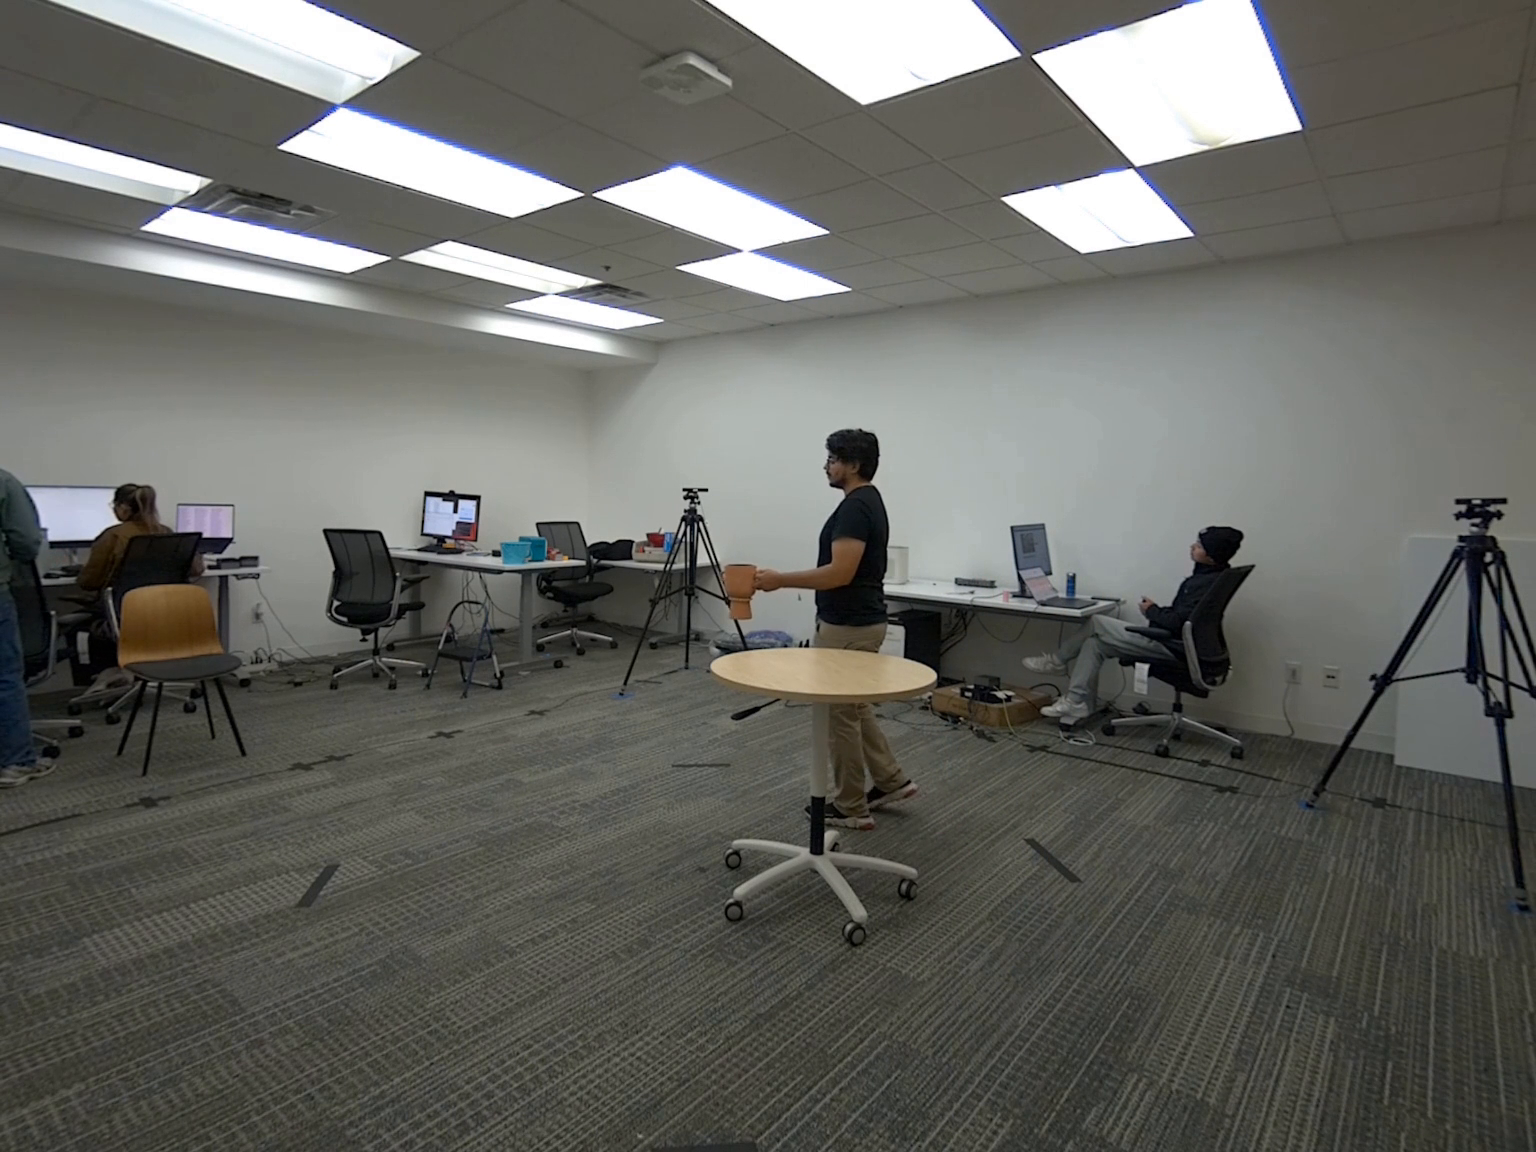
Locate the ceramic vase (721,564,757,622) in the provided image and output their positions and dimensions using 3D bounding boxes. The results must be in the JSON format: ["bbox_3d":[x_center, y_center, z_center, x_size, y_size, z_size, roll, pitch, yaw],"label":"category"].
[{"bbox_3d":[-0.118,0.062,3.517,0.132,0.220,0.162,-1,1,-22],"label":"ceramic vase"}]
